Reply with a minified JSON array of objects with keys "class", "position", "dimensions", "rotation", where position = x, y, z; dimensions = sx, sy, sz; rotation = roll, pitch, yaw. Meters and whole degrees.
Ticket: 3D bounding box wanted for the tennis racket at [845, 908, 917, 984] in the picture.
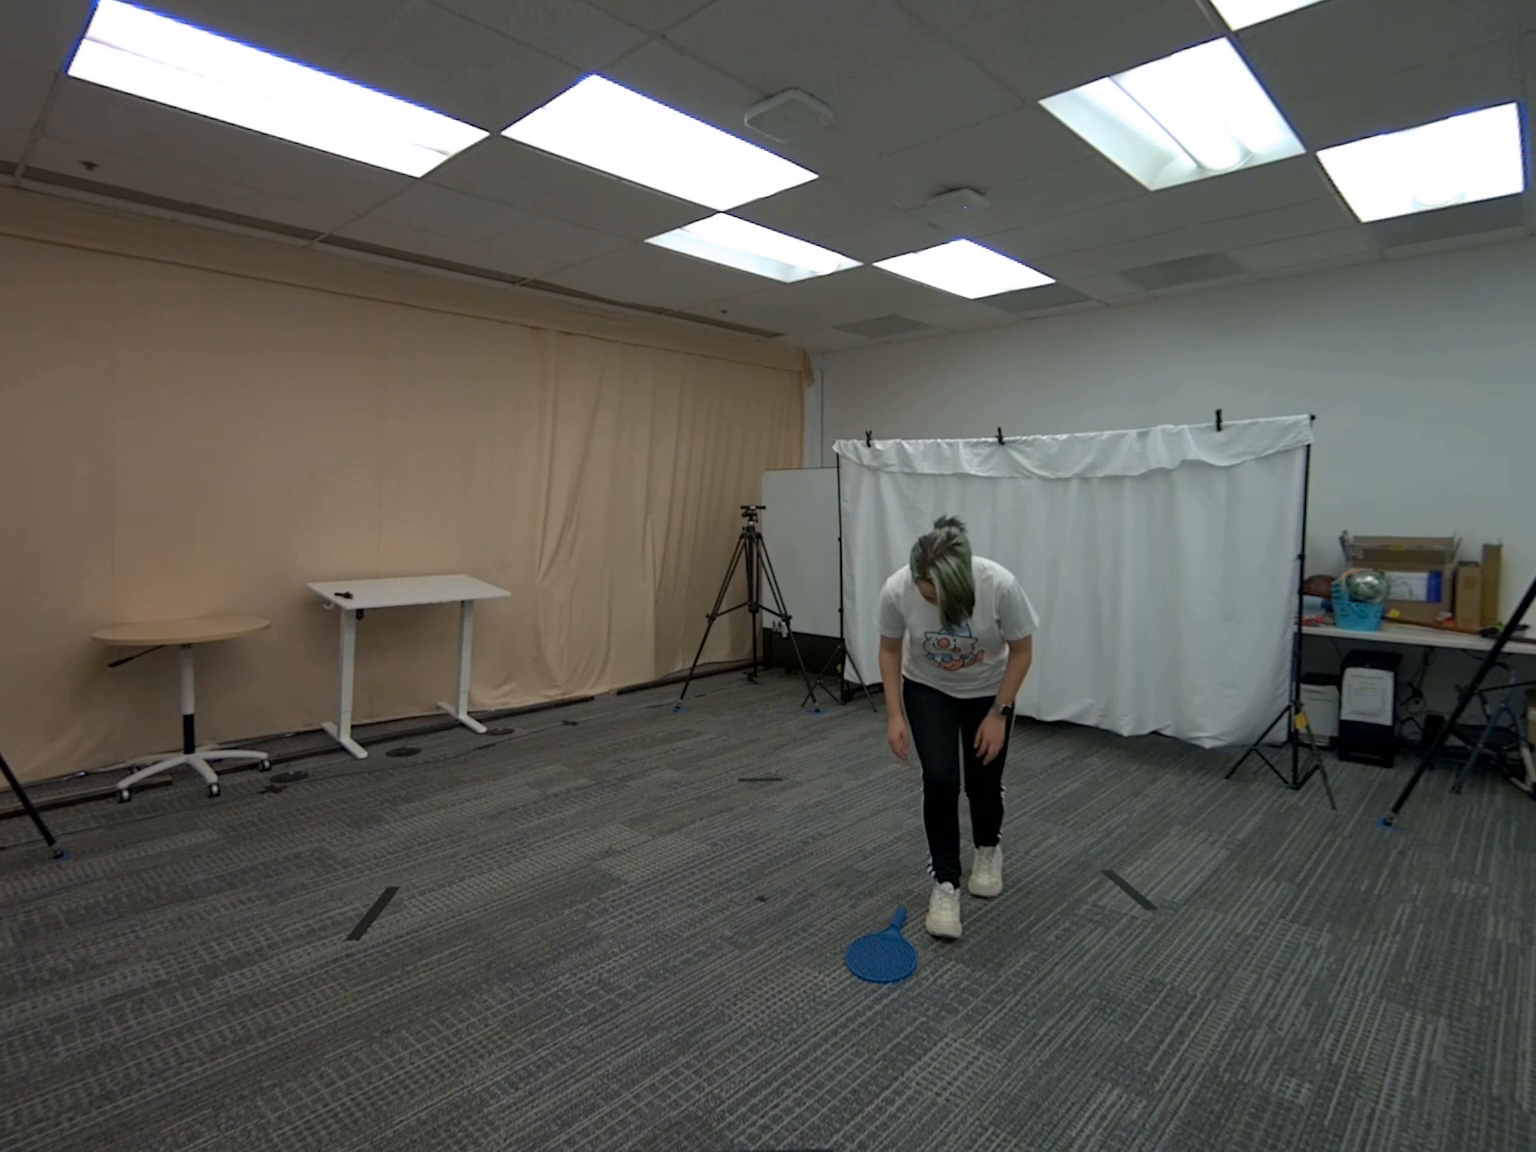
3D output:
[{"class":"tennis racket","position":[0.380,1.157,2.656],"dimensions":[0.219,0.031,0.424],"rotation":[3,8,23]}]
